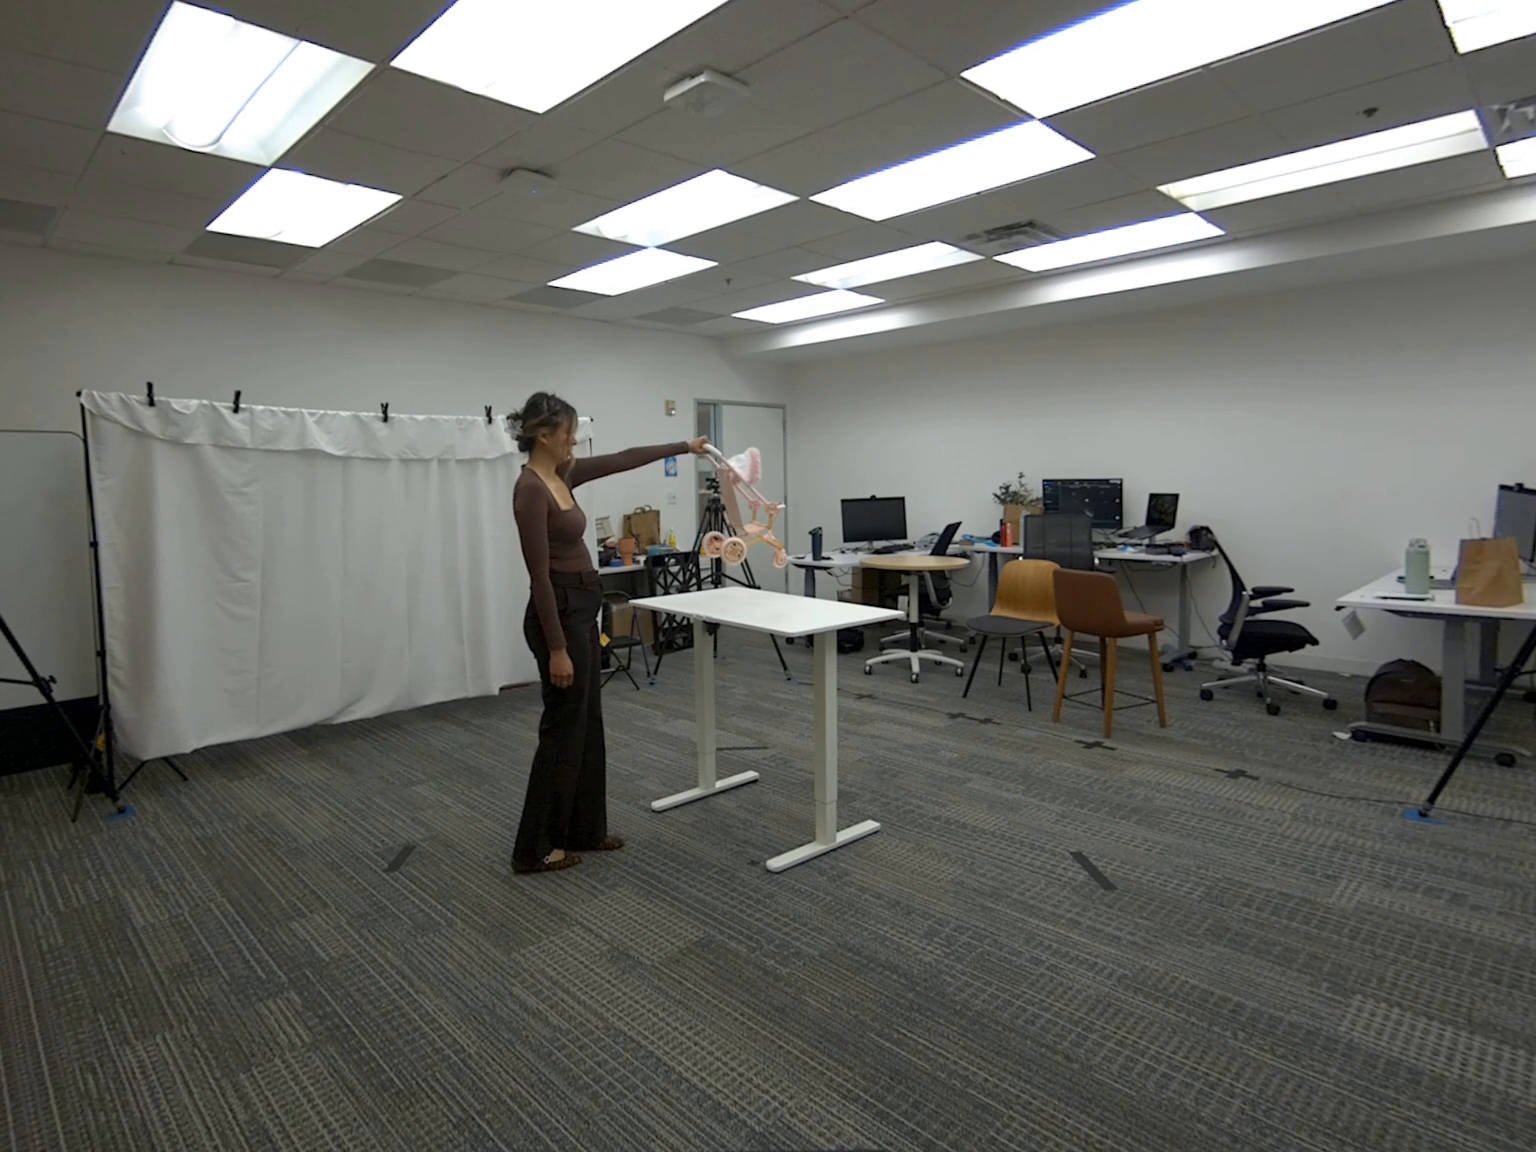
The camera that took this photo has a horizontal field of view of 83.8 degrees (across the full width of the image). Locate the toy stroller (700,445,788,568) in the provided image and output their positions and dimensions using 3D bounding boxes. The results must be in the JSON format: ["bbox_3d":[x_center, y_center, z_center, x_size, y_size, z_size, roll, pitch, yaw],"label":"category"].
[{"bbox_3d":[-0.087,-0.279,3.486,0.337,0.531,0.287,-5,7,-15],"label":"toy stroller"}]
